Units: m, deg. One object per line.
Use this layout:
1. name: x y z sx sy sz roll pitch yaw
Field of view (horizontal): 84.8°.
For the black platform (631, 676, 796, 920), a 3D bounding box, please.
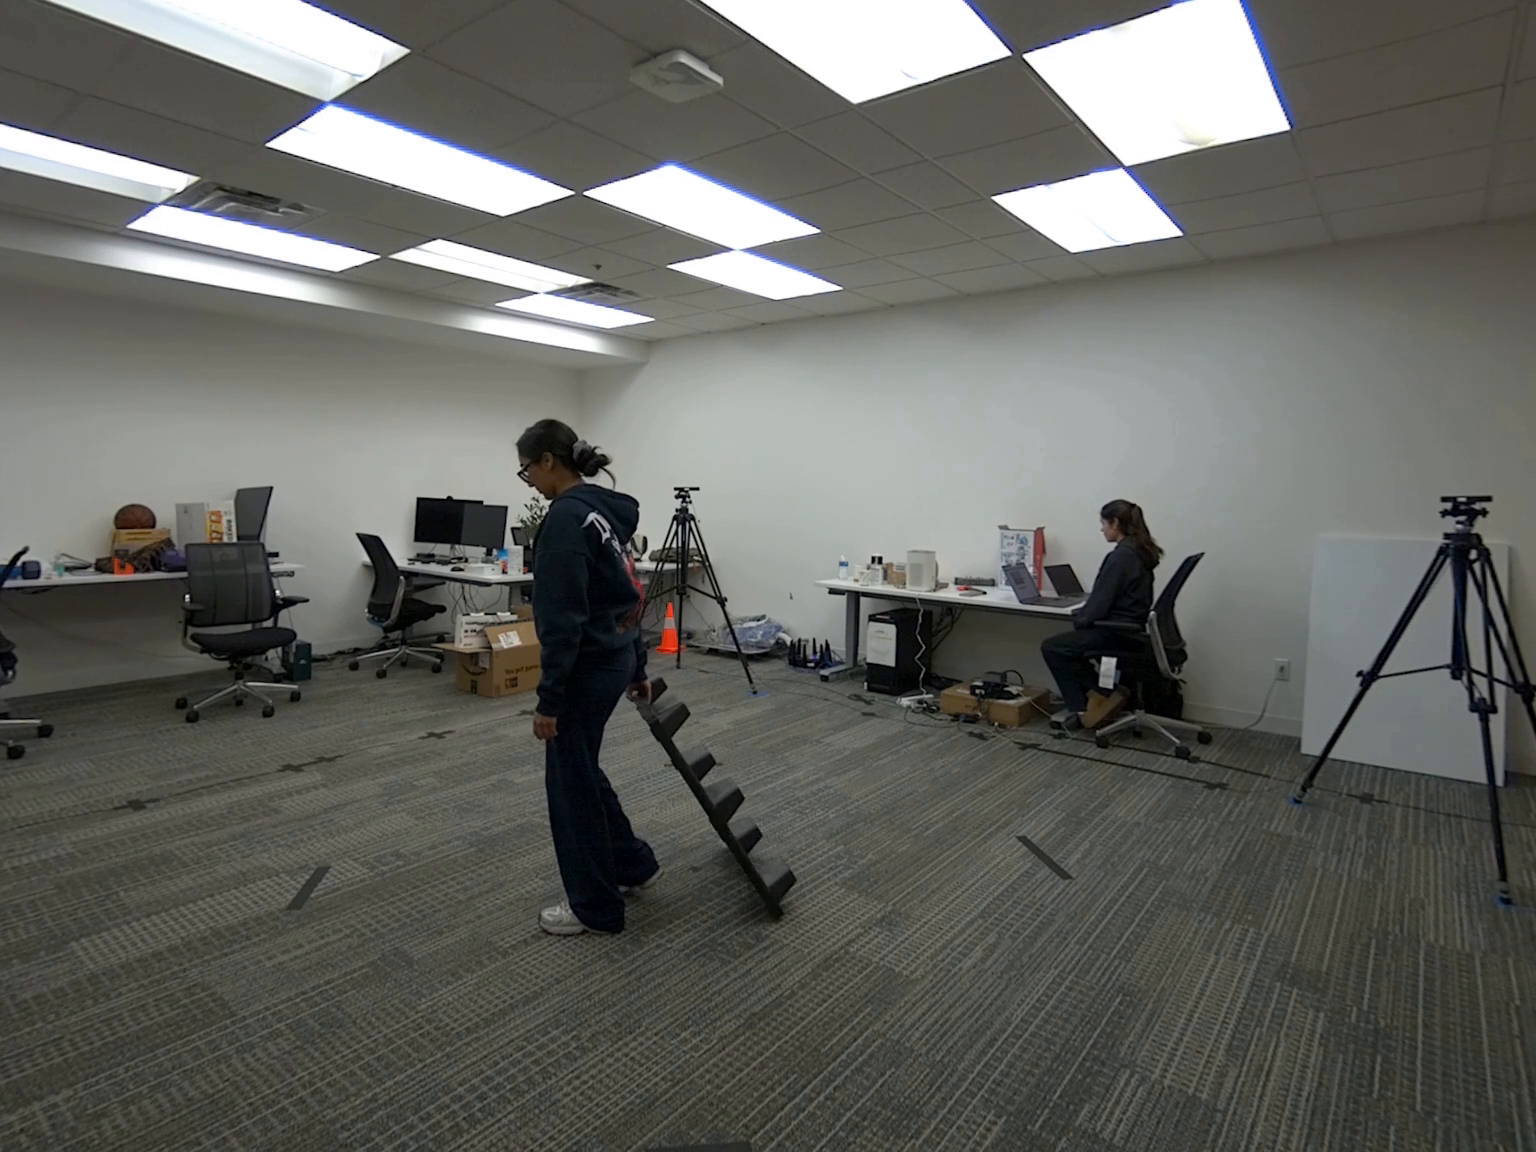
1. black platform: -0.218 0.715 2.959 0.143 0.794 0.617 -33 12 -11
